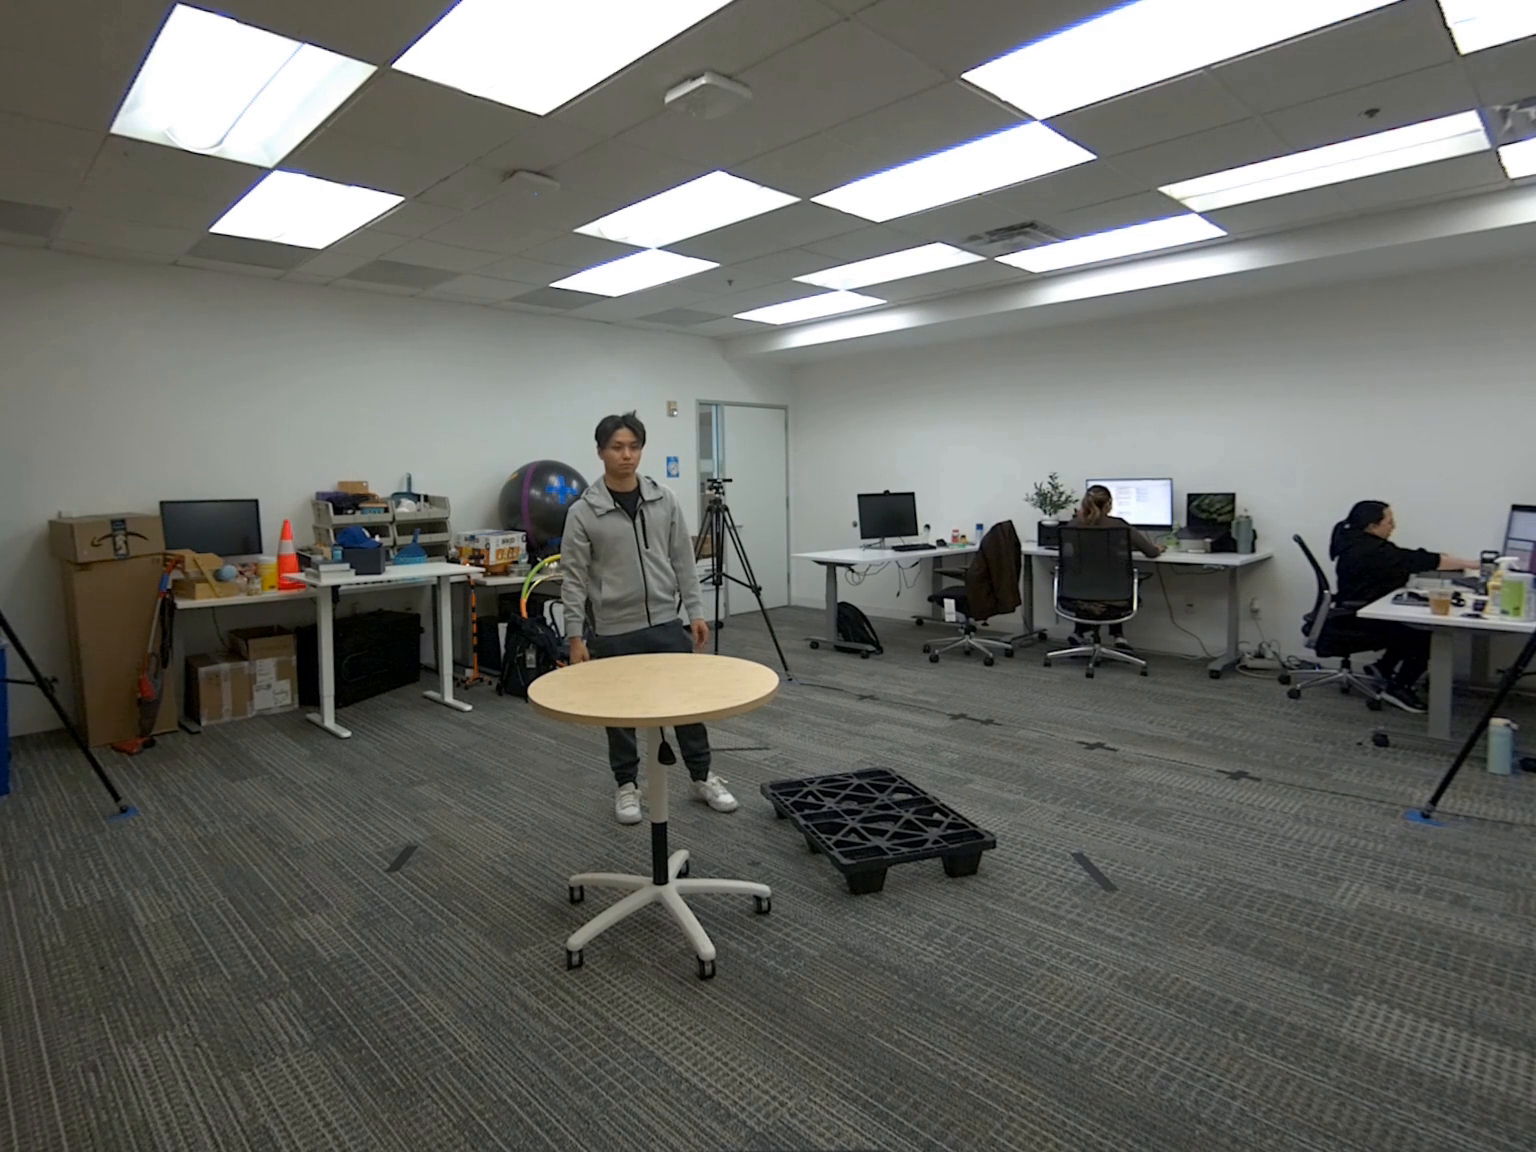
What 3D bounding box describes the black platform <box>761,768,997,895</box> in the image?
[{"bbox_3d":[0.383,0.954,3.257,0.595,0.143,0.822,-4,6,-19],"label":"black platform"}]
